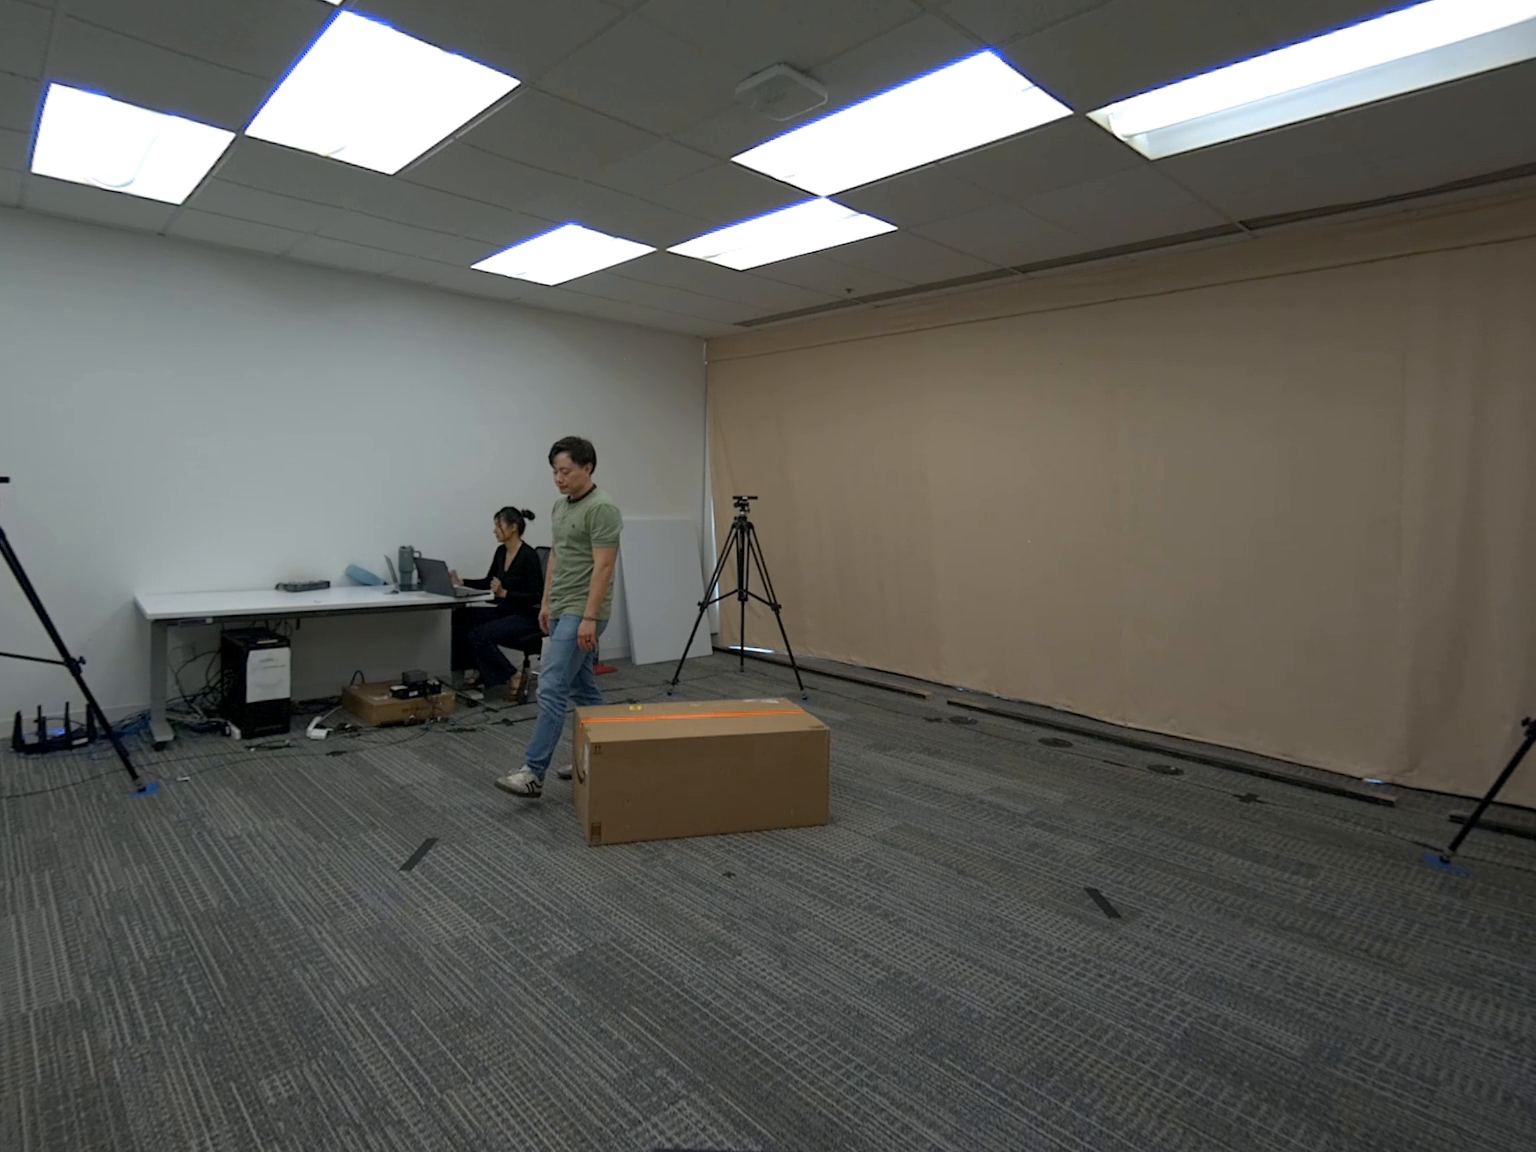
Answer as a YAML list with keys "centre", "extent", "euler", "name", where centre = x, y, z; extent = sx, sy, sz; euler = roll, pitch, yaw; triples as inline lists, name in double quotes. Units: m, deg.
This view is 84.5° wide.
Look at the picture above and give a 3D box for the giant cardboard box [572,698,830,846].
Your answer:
- centre: [-0.321, 0.828, 3.719]
  extent: [1.012, 0.425, 0.586]
  euler: [0, 4, -18]
  name: "giant cardboard box"
